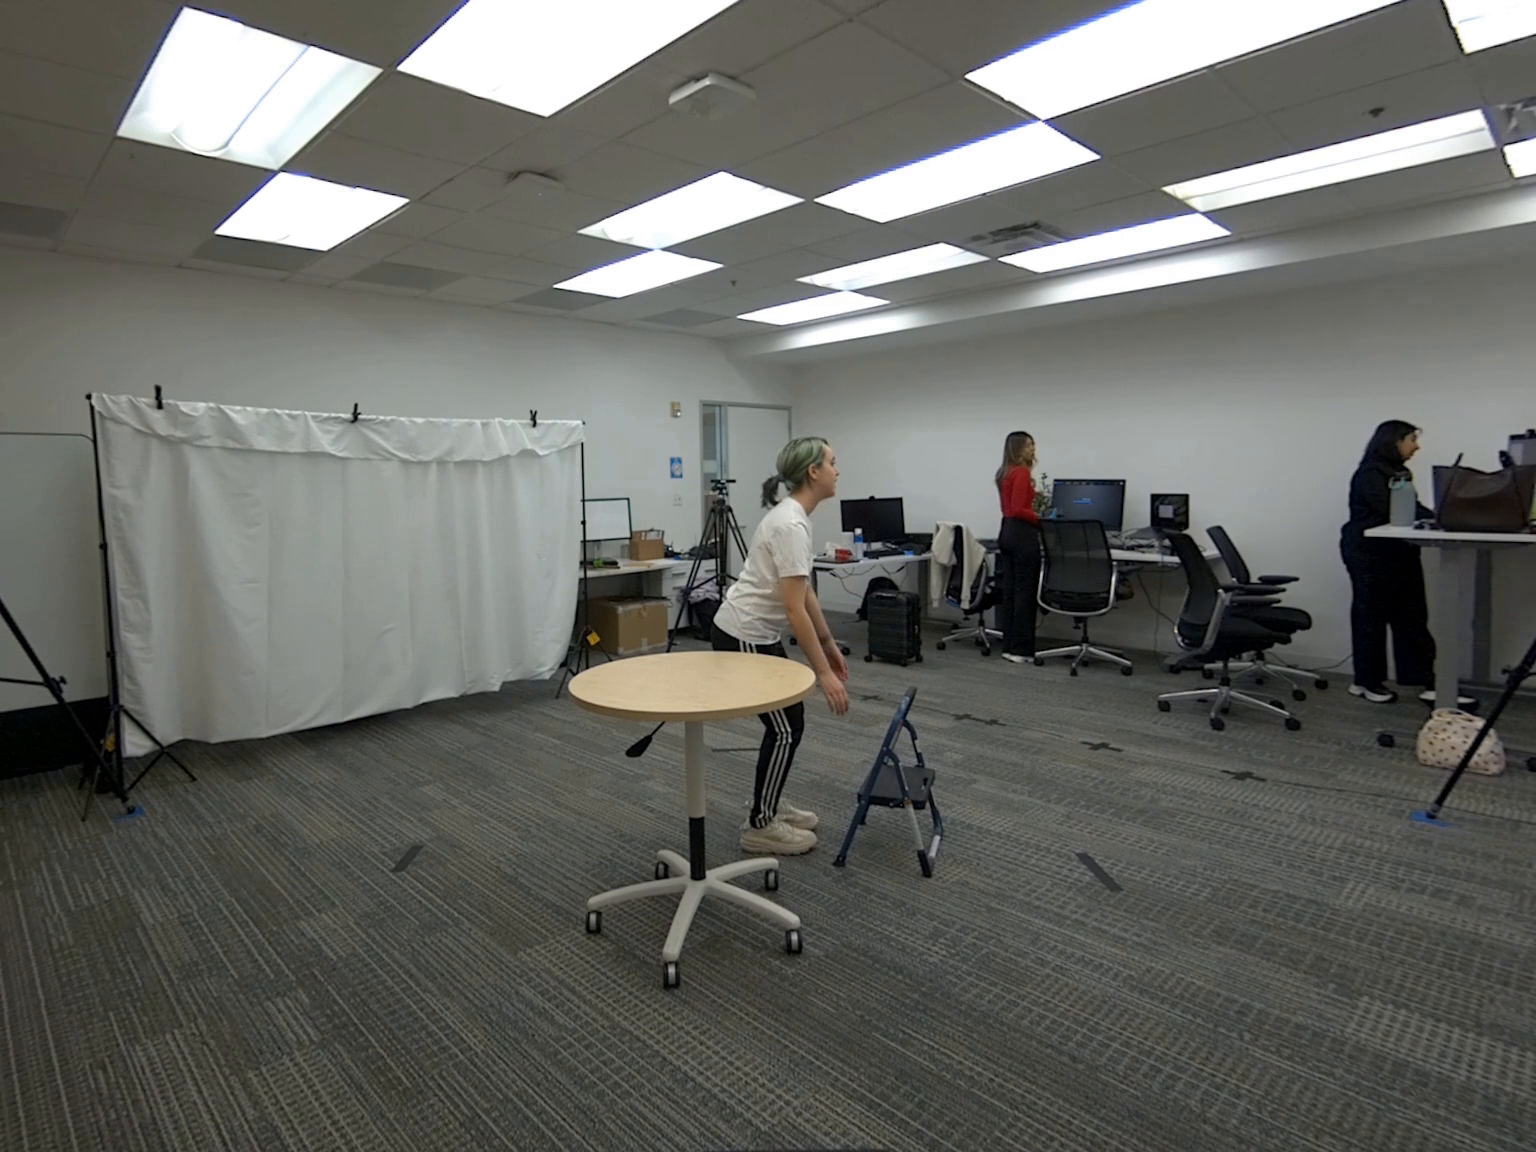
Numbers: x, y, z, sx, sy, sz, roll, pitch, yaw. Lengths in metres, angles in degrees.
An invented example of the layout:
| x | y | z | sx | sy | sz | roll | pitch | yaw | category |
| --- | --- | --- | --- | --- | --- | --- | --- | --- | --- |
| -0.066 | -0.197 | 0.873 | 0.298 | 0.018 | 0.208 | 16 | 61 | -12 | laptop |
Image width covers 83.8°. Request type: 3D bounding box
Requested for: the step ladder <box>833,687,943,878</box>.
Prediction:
| x | y | z | sx | sy | sz | roll | pitch | yaw | category |
| --- | --- | --- | --- | --- | --- | --- | --- | --- | --- |
| 0.460 | 0.725 | 3.195 | 0.356 | 0.604 | 0.424 | 0 | 4 | 19 | step ladder |
